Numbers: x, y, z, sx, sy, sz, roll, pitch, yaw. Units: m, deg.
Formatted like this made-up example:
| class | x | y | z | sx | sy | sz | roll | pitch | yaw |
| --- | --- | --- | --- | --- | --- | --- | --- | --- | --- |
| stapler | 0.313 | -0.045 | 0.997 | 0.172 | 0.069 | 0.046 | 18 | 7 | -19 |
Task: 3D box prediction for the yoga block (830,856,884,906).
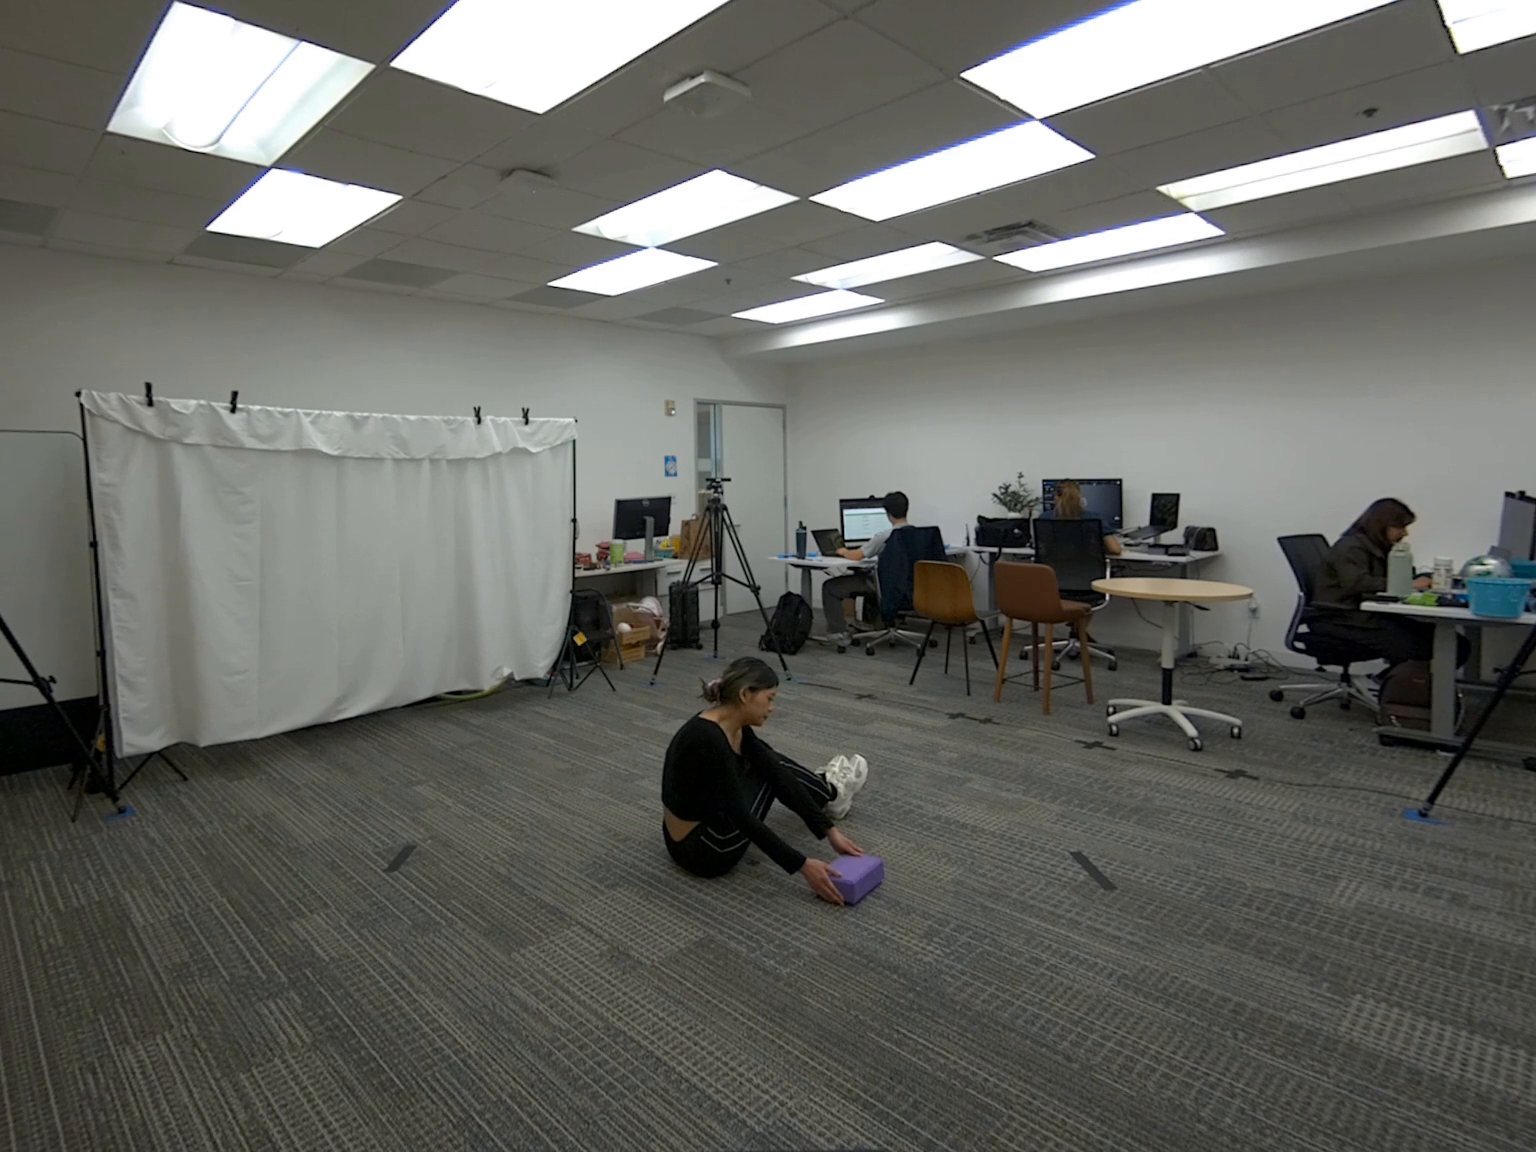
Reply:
| class | x | y | z | sx | sy | sz | roll | pitch | yaw |
| --- | --- | --- | --- | --- | --- | --- | --- | --- | --- |
| yoga block | 0.273 | 1.015 | 2.891 | 0.153 | 0.076 | 0.223 | 2 | 5 | 36 |
